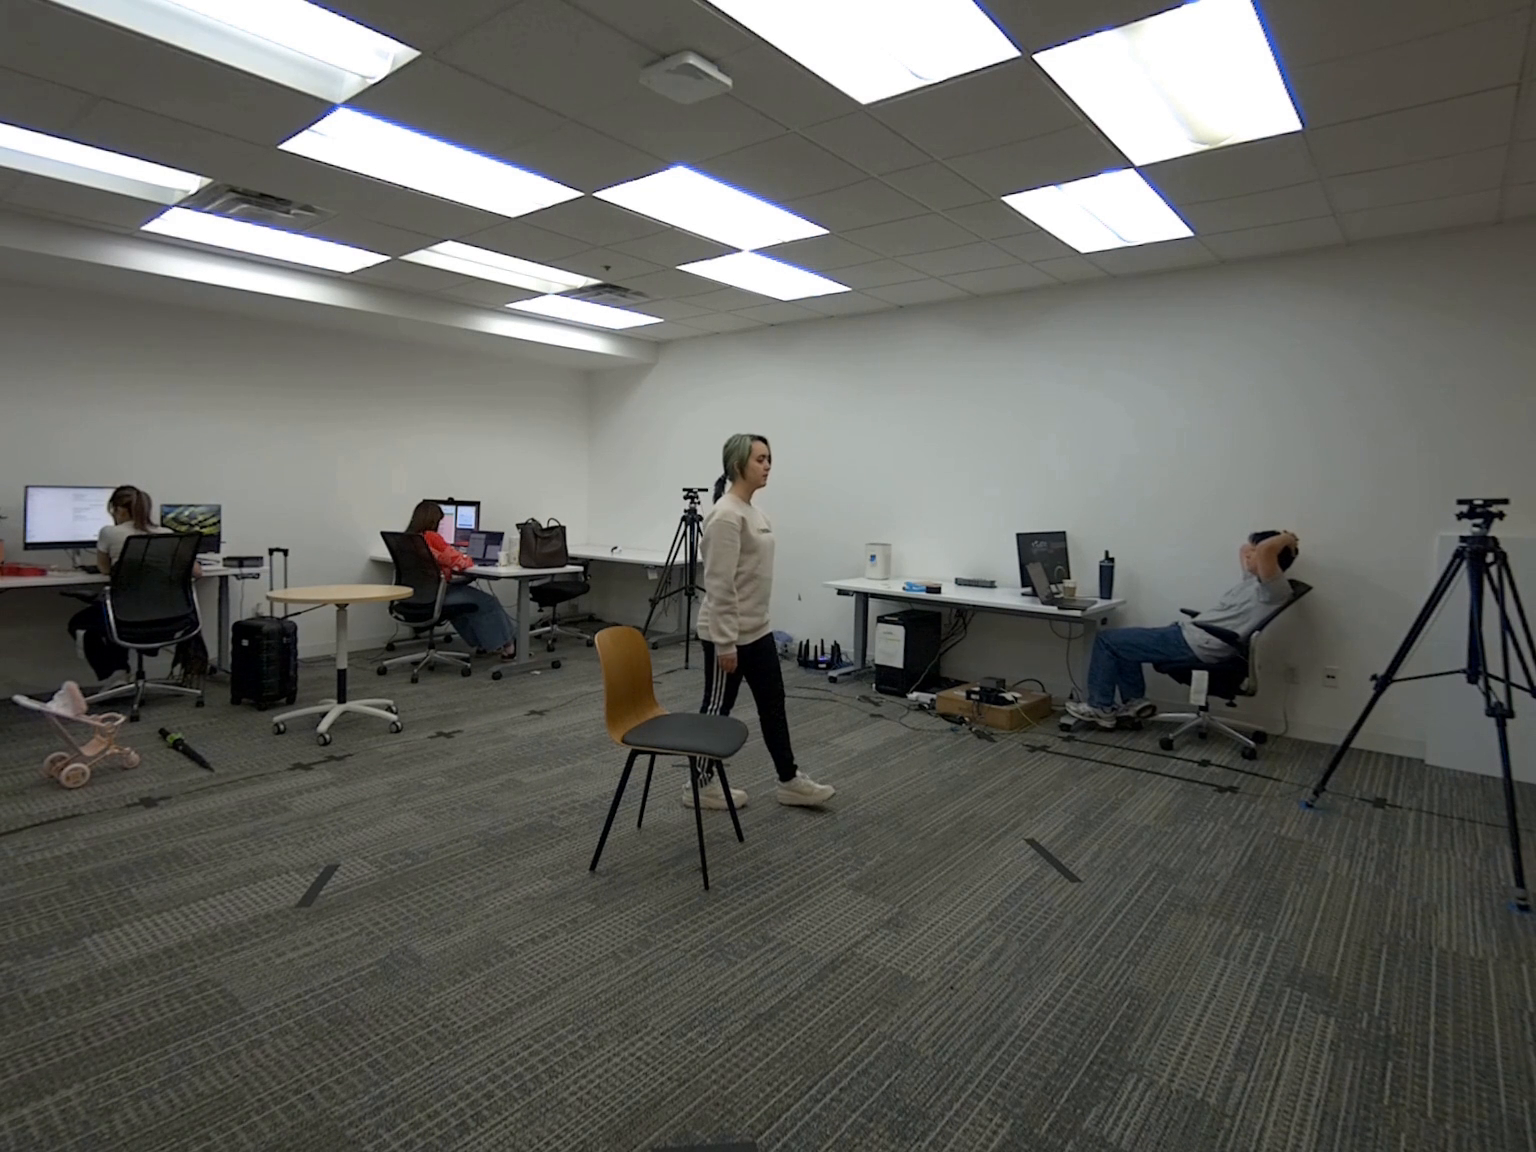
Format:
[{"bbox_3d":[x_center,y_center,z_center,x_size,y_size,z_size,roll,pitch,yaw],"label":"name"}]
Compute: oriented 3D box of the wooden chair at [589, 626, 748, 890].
[{"bbox_3d":[-0.362,0.631,3.192,0.532,0.876,0.470,-2,2,17],"label":"wooden chair"}]
